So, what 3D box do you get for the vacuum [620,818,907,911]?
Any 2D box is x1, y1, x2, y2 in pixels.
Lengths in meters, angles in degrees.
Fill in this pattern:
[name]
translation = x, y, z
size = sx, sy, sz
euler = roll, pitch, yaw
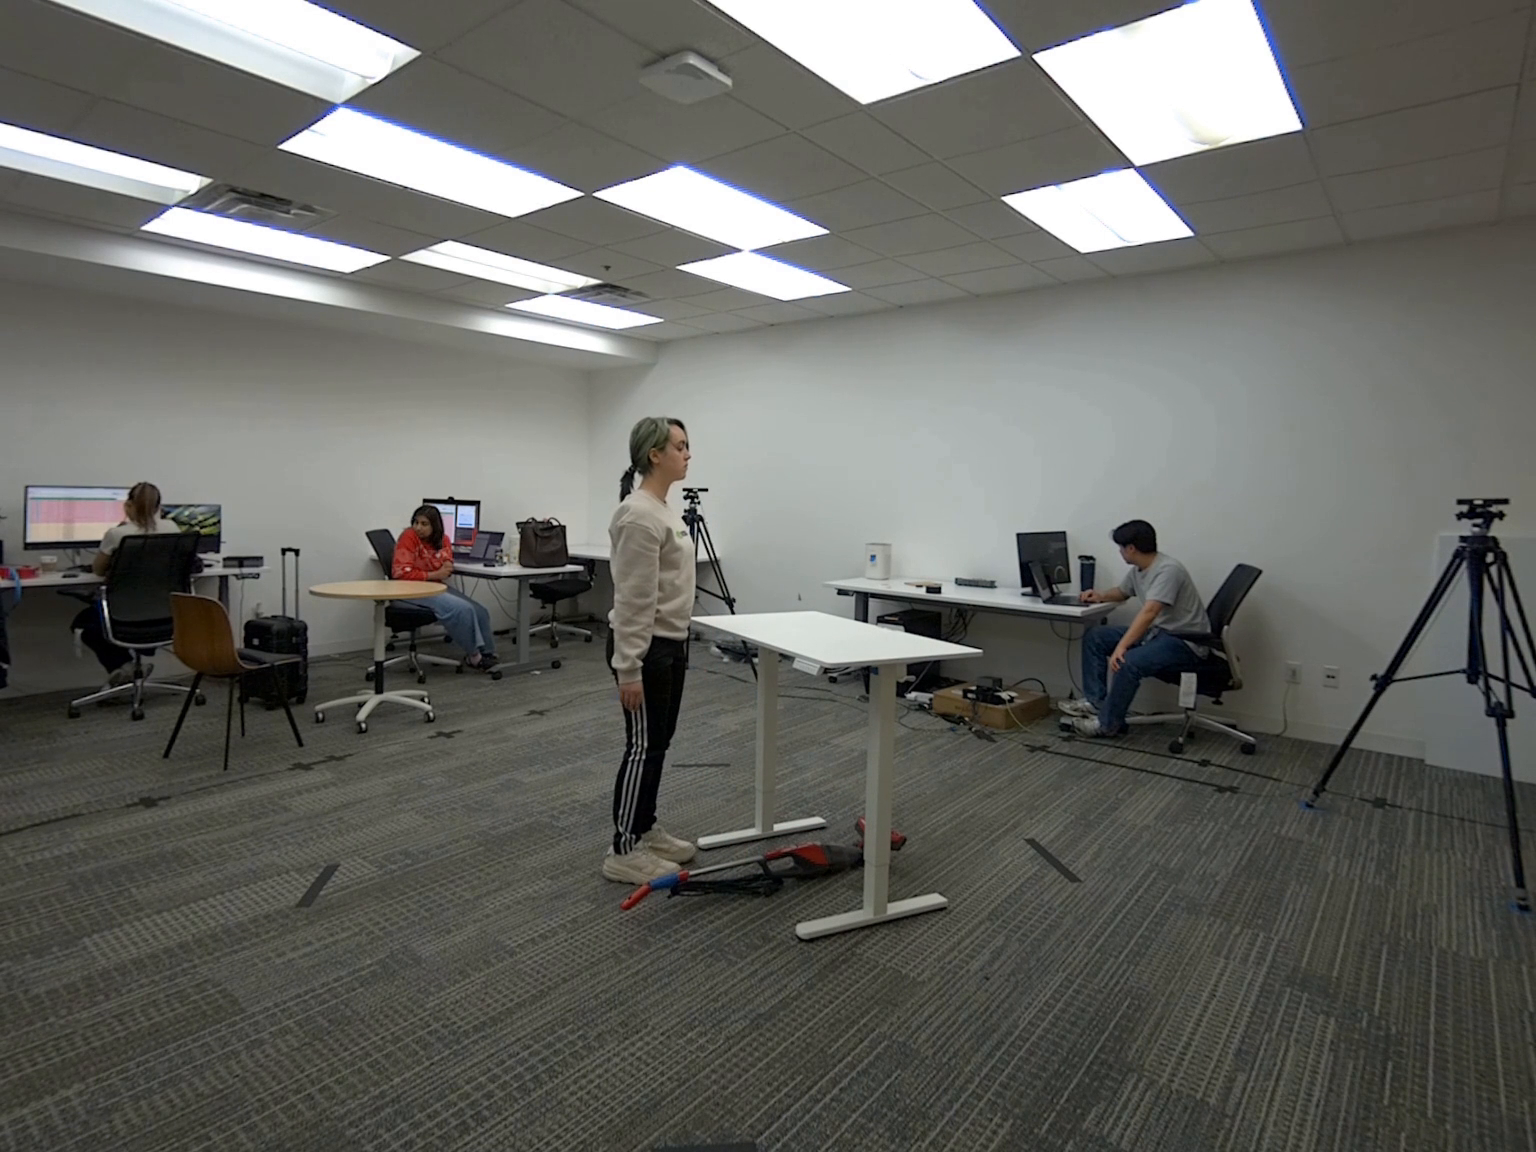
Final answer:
[vacuum]
translation = -0.024, 1.032, 2.954
size = 1.021, 0.143, 0.261
euler = -3, 8, -31
